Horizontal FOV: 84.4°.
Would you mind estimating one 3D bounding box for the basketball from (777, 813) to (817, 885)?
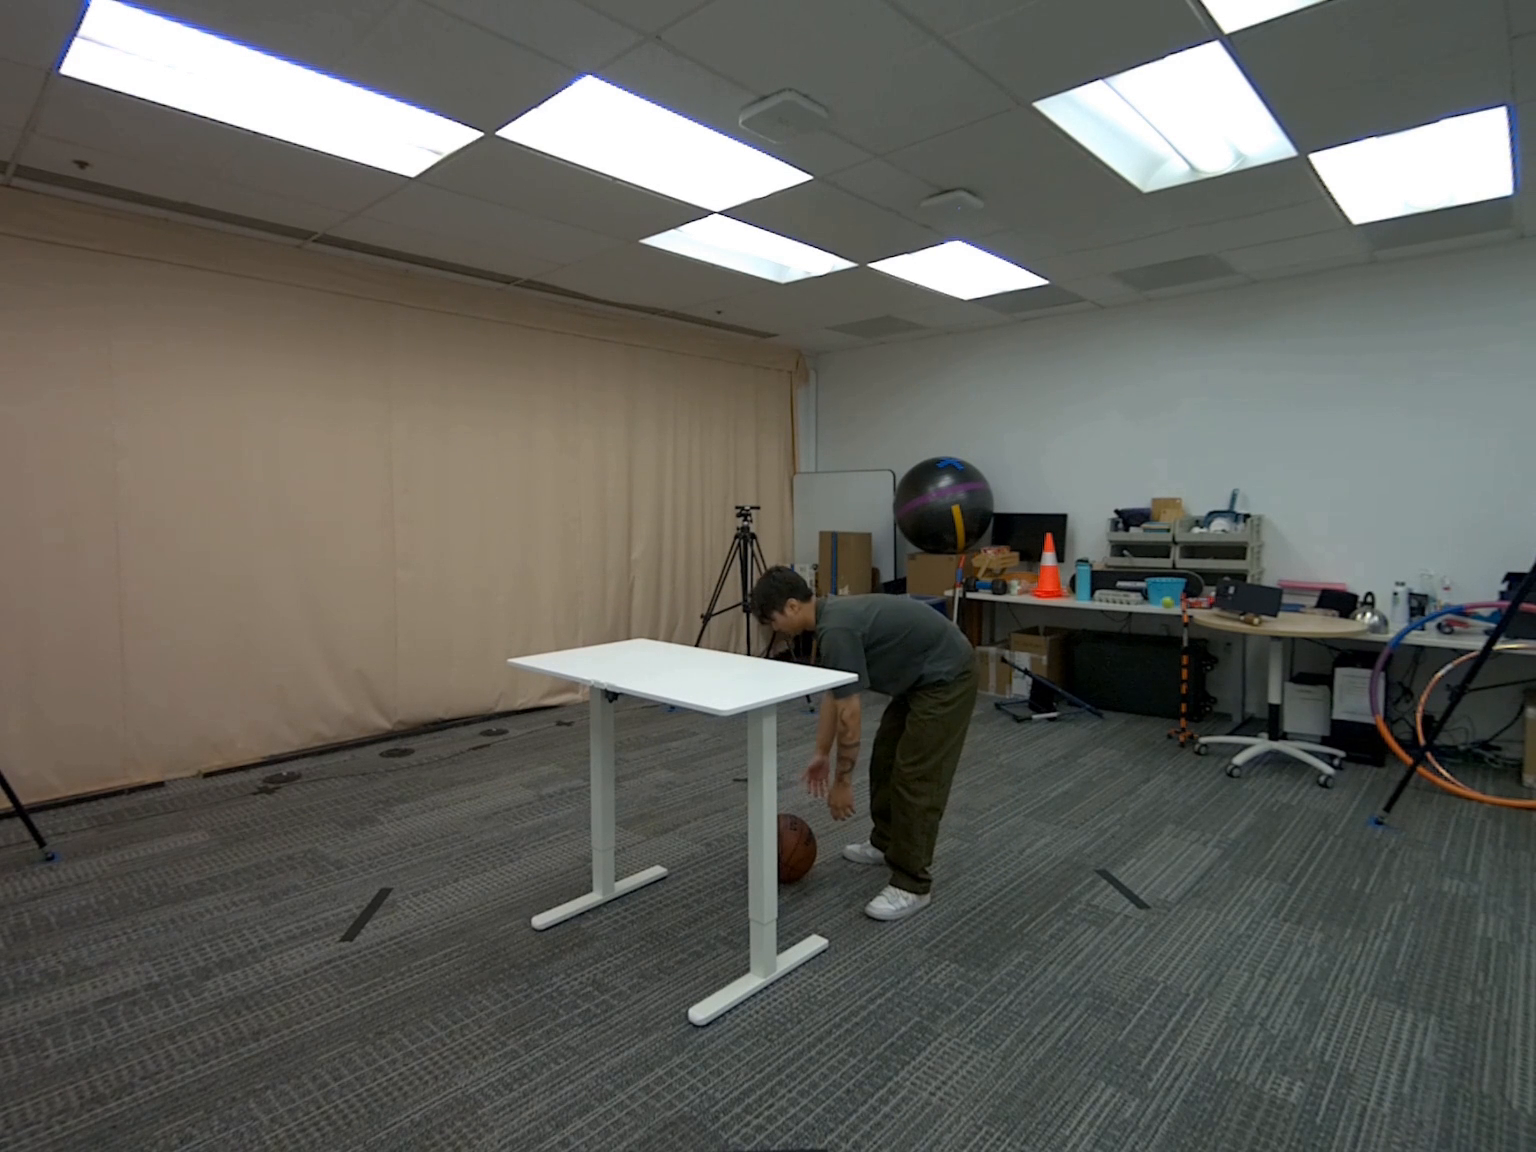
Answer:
[{"bbox_3d":[0.069,1.008,3.139,0.236,0.235,0.237,0,4,-2],"label":"basketball"}]
